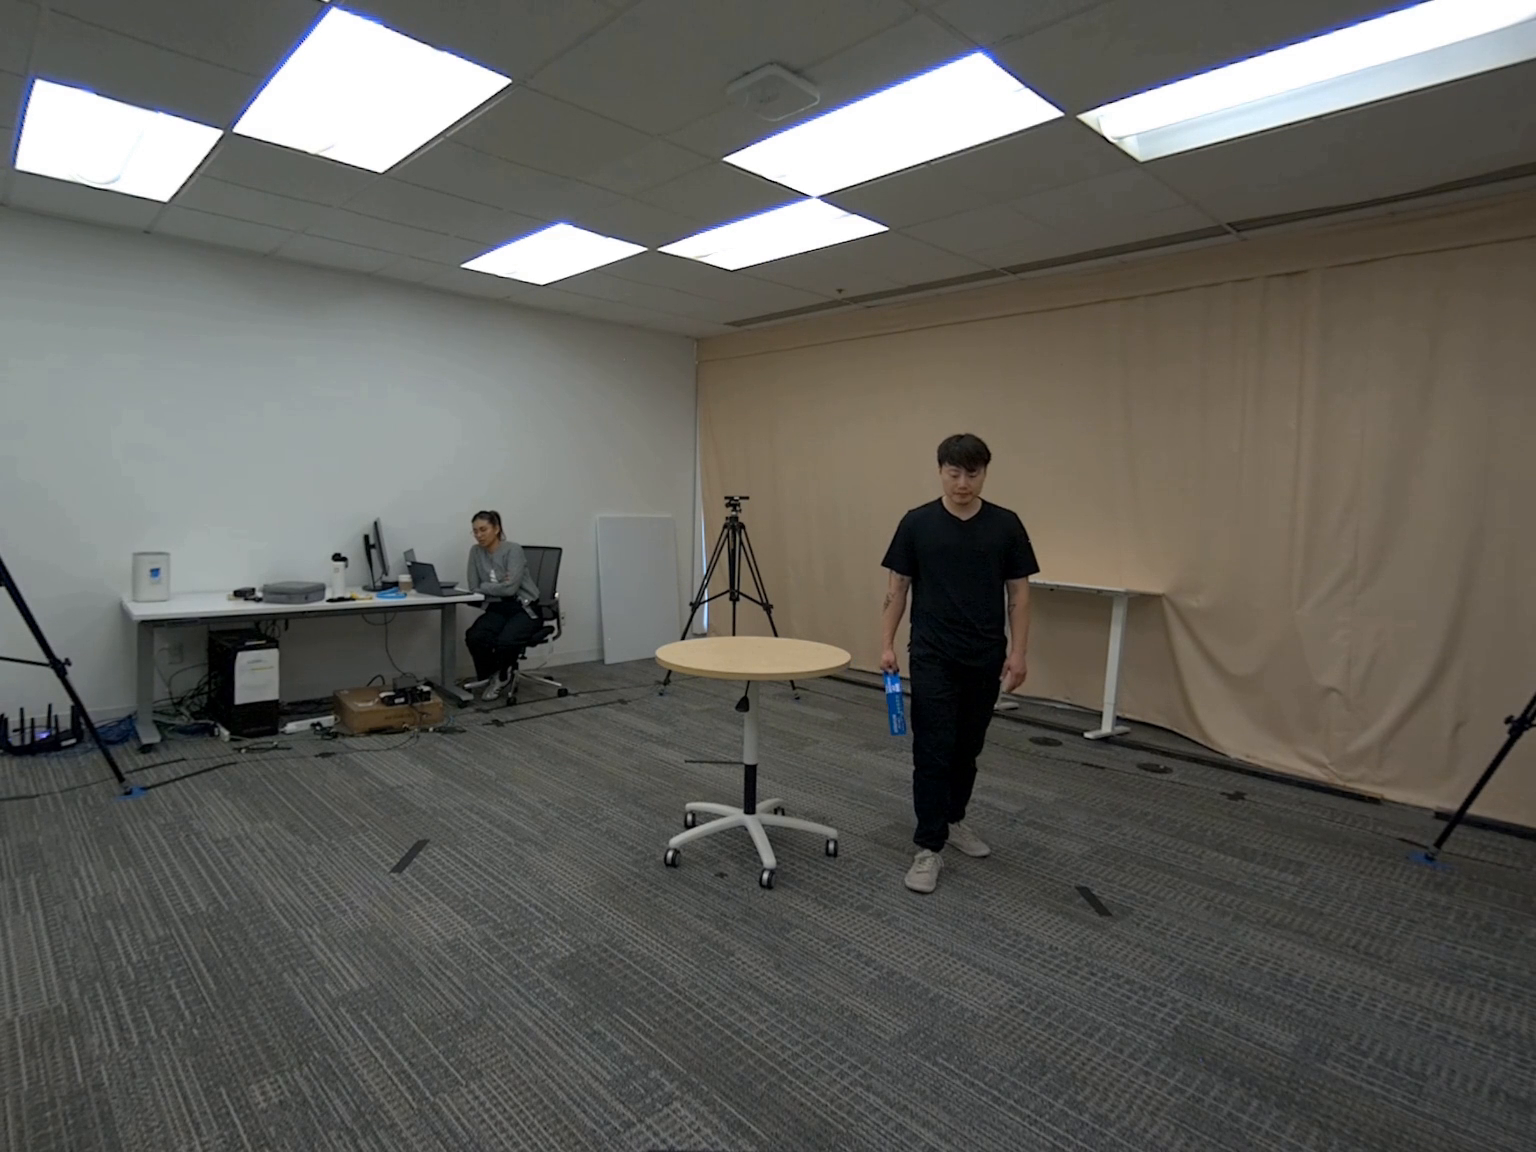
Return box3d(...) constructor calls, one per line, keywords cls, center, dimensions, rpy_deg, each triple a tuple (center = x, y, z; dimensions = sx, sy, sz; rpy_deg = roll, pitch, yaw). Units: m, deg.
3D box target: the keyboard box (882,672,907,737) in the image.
box3d(cls="keyboard box", center=(0.484, 0.459, 3.367), dimensions=(0.059, 0.174, 0.438), rpy_deg=(-7, 12, 7))
